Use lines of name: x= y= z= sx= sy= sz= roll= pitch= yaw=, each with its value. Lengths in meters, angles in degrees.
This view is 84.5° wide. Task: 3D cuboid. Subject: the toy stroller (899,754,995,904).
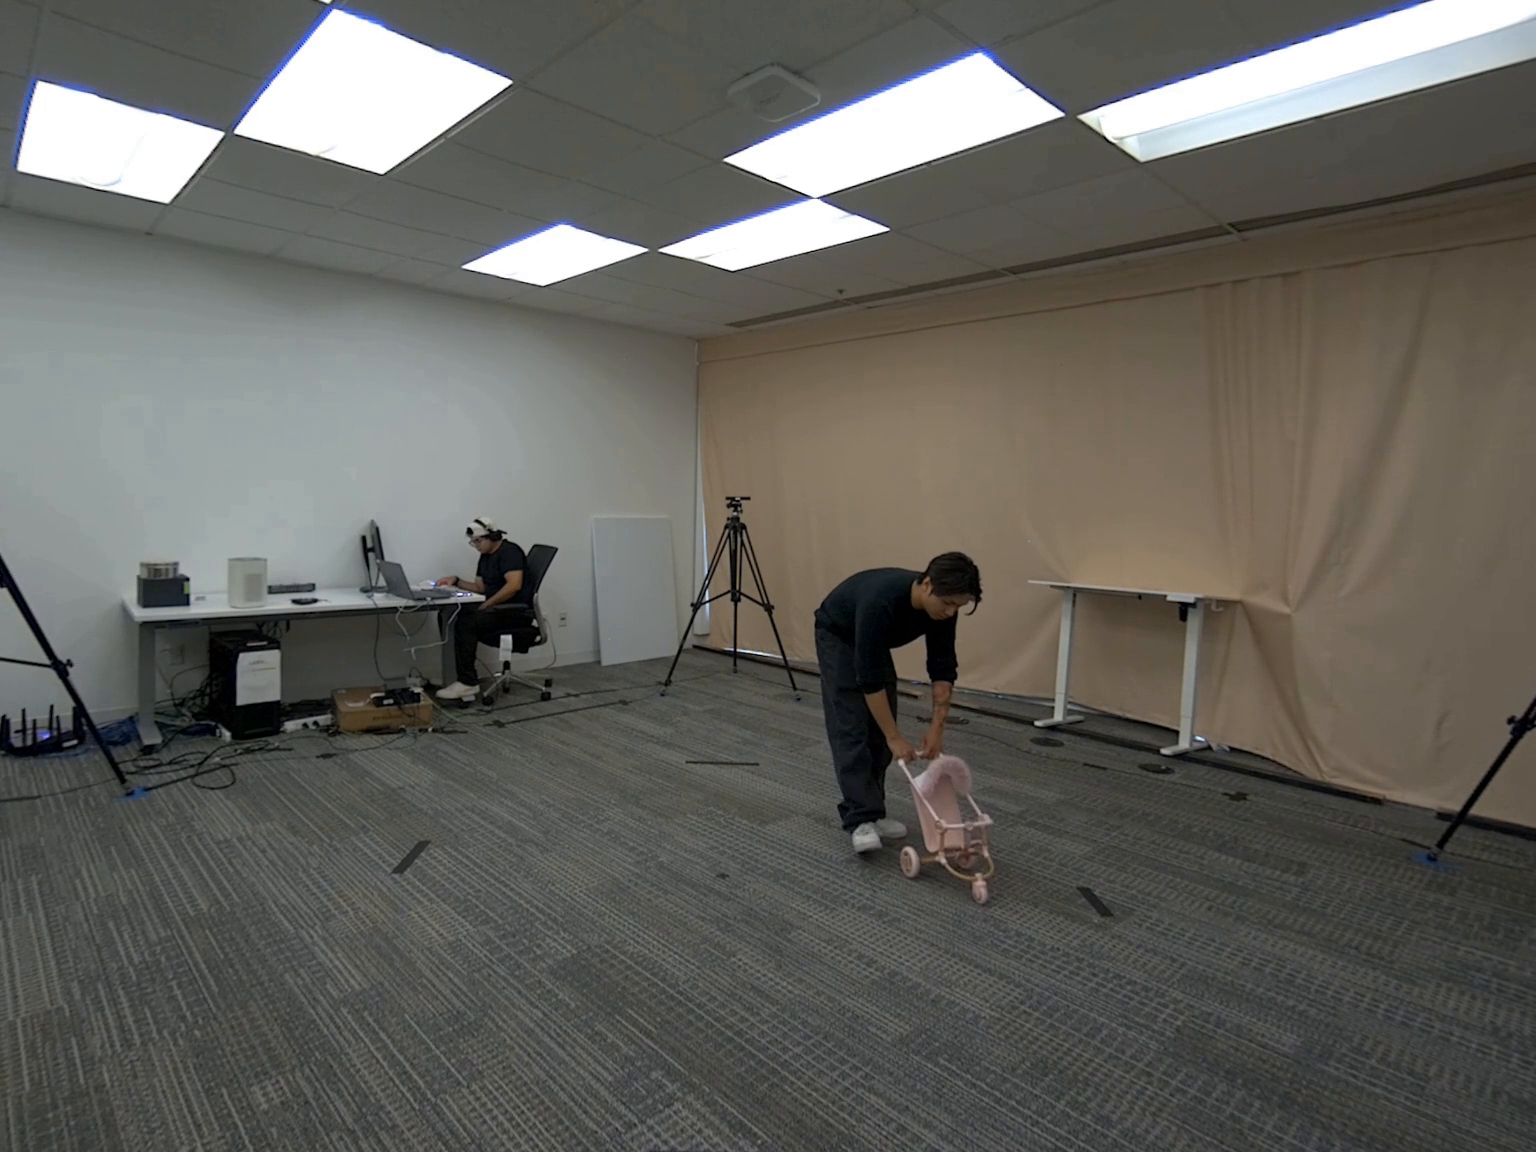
toy stroller: x=0.661 y=0.908 z=3.110 sx=0.277 sy=0.541 sz=0.343 roll=1 pitch=-14 yaw=-20
